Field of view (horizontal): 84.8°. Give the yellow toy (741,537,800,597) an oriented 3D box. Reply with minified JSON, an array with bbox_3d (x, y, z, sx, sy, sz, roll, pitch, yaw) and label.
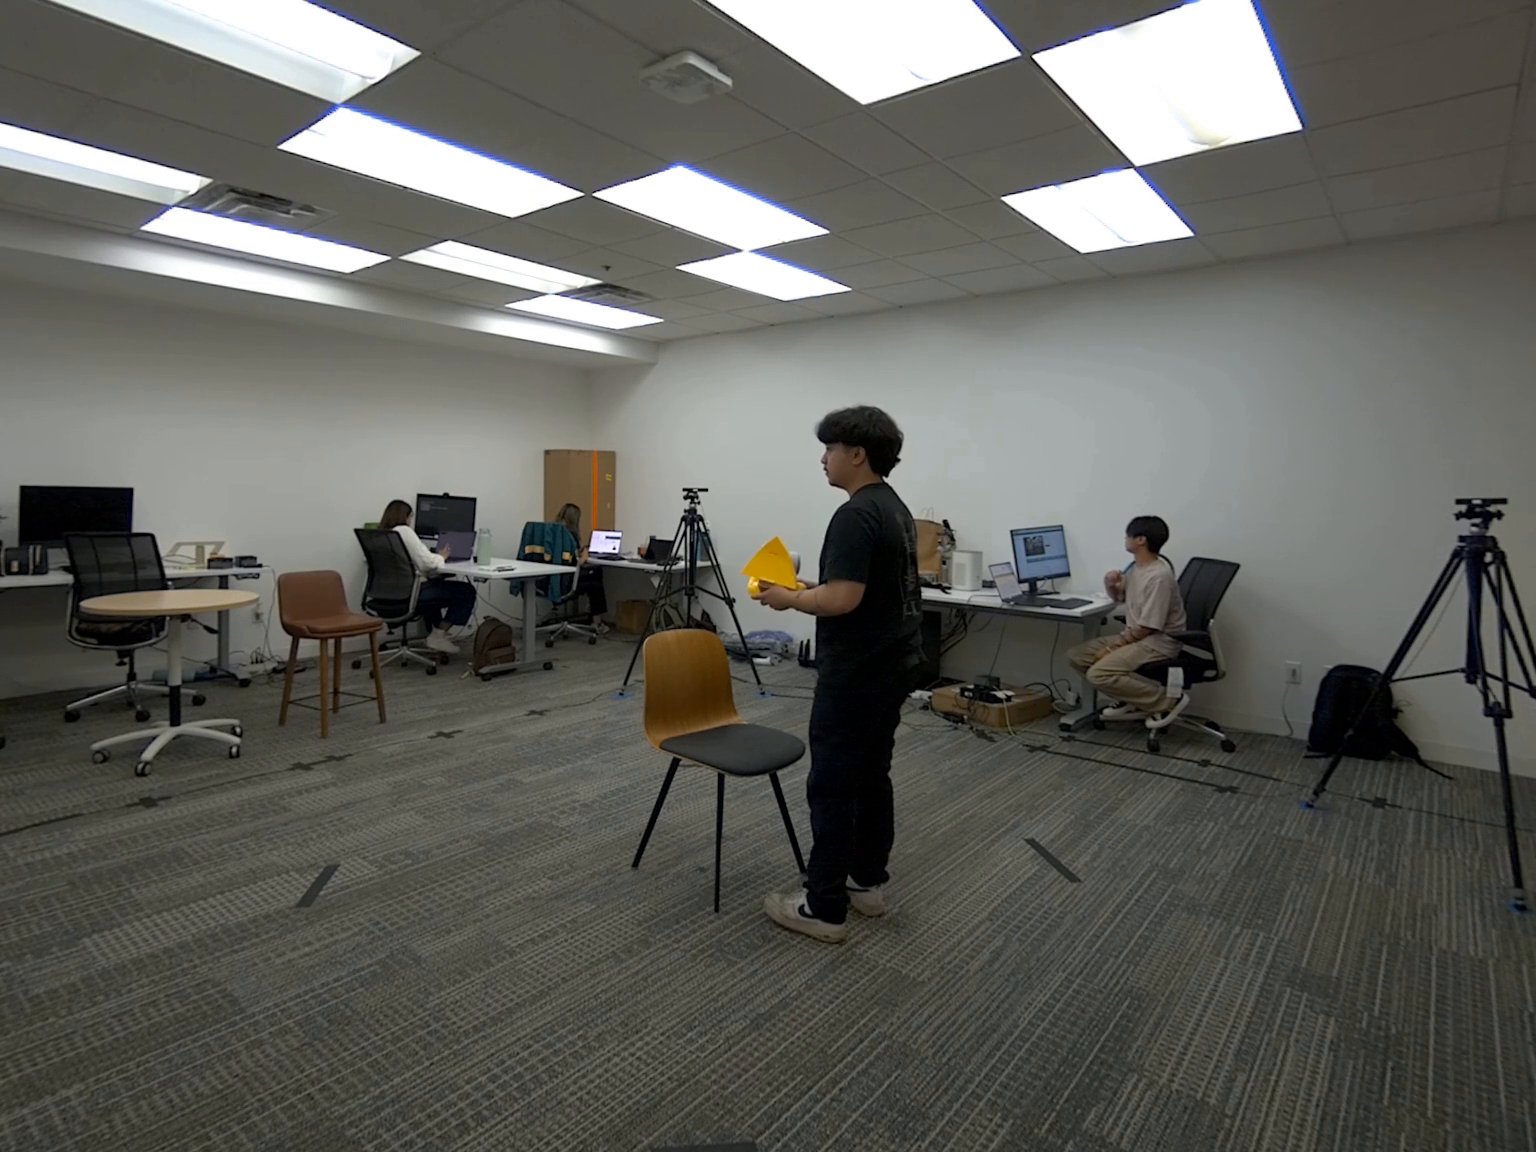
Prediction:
[{"bbox_3d":[0.034,-0.046,2.869,0.211,0.227,0.190,15,21,23],"label":"yellow toy"}]
